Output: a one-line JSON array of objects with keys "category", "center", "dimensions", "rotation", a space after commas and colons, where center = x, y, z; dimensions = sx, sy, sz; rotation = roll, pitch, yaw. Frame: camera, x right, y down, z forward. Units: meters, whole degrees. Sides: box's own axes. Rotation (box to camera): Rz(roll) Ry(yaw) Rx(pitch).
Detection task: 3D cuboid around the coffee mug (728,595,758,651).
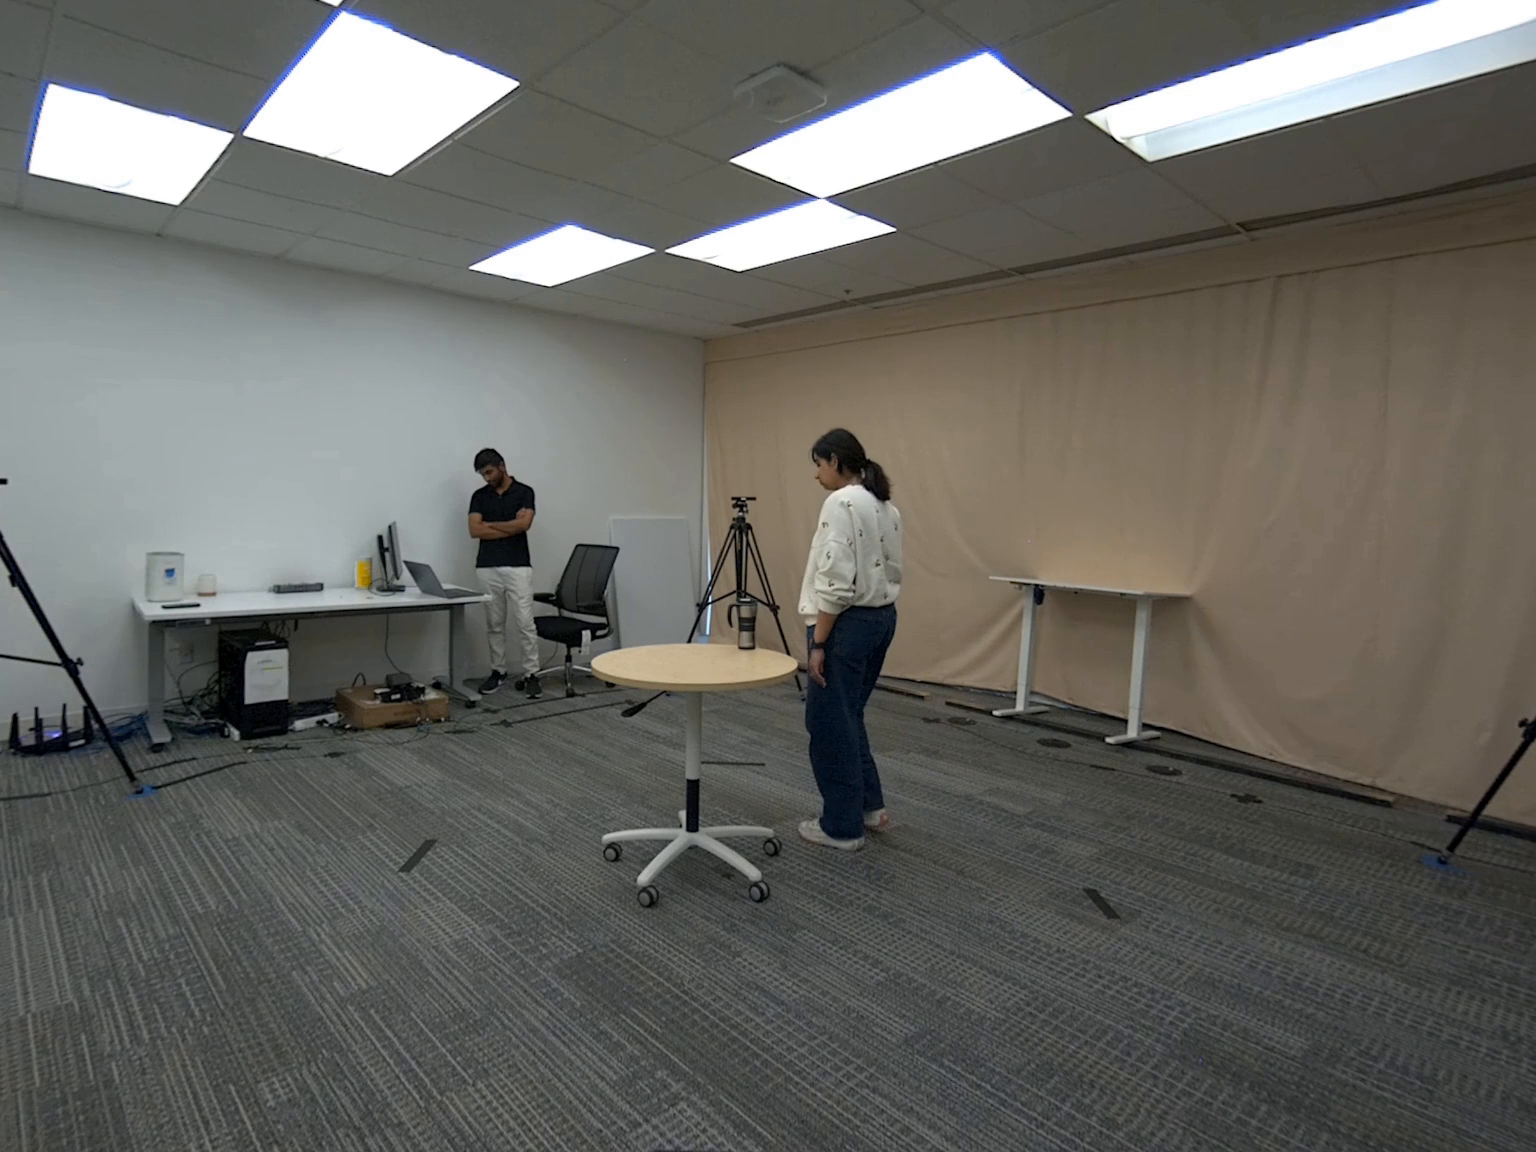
[{"category": "coffee mug", "center": [-0.109, 0.192, 3.416], "dimensions": [0.123, 0.202, 0.087], "rotation": [6, 8, 11]}]
